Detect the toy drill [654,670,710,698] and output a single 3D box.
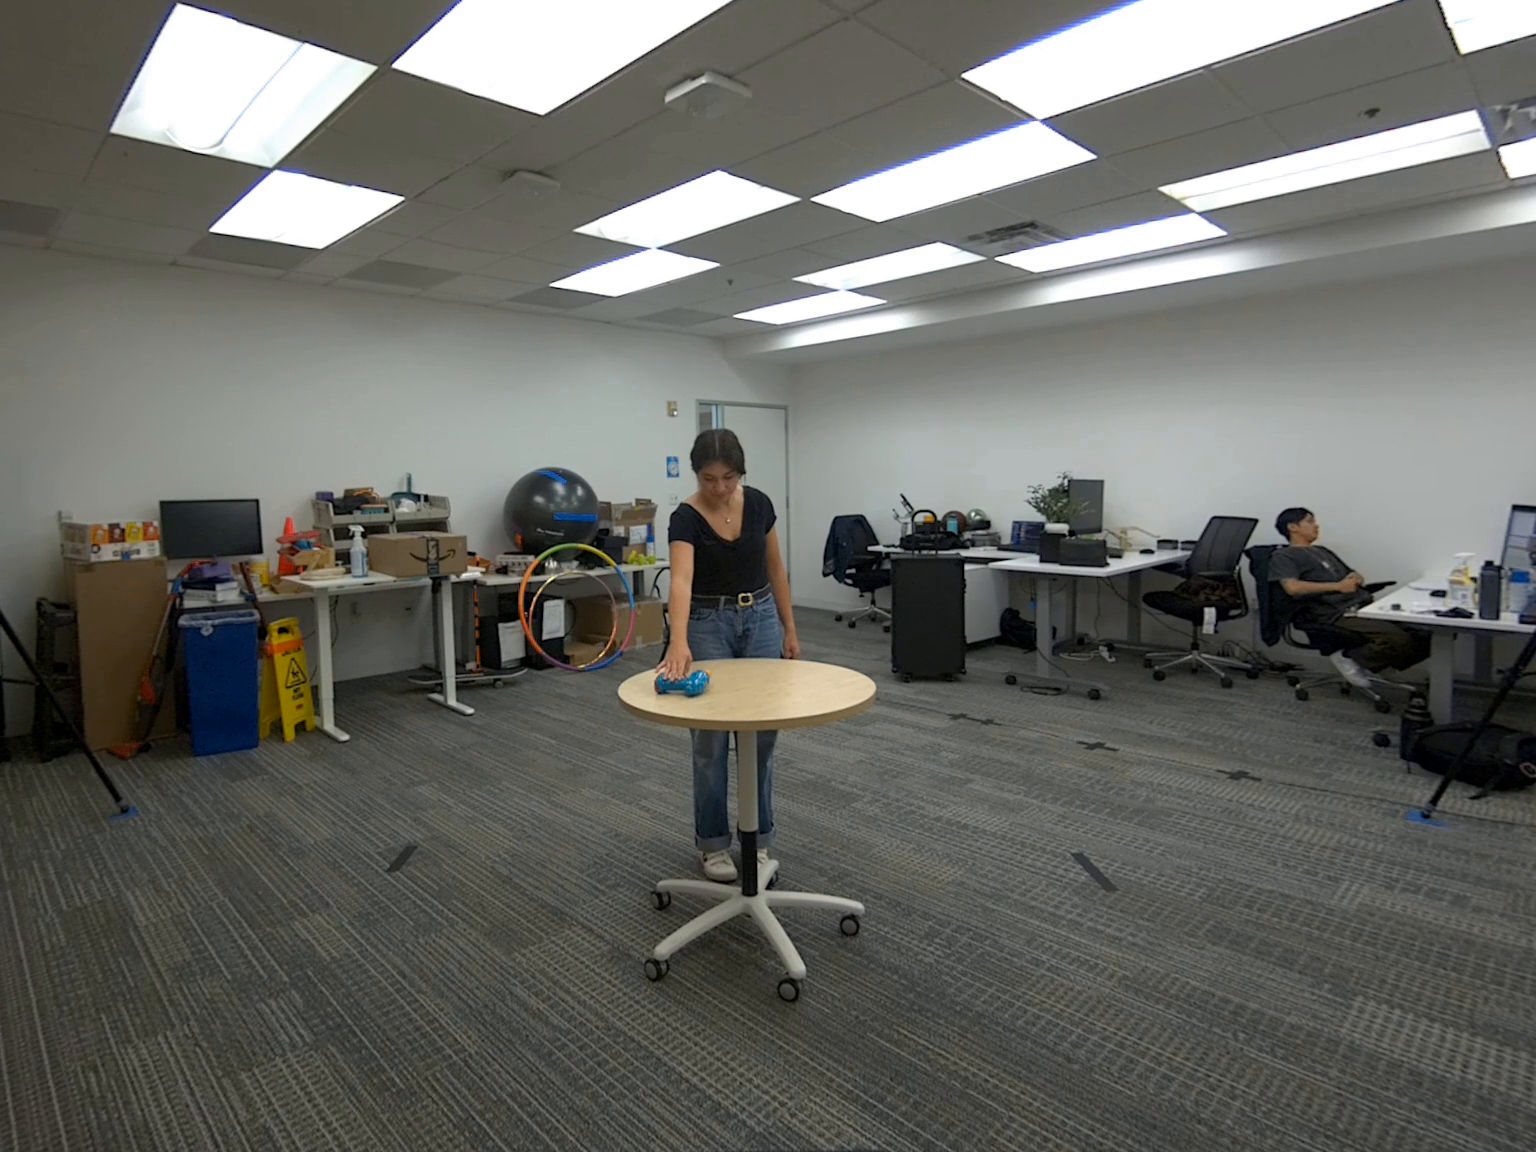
[{"bbox_3d":[-0.232,0.311,2.506,0.148,0.060,0.169,-2,14,18],"label":"toy drill"}]
